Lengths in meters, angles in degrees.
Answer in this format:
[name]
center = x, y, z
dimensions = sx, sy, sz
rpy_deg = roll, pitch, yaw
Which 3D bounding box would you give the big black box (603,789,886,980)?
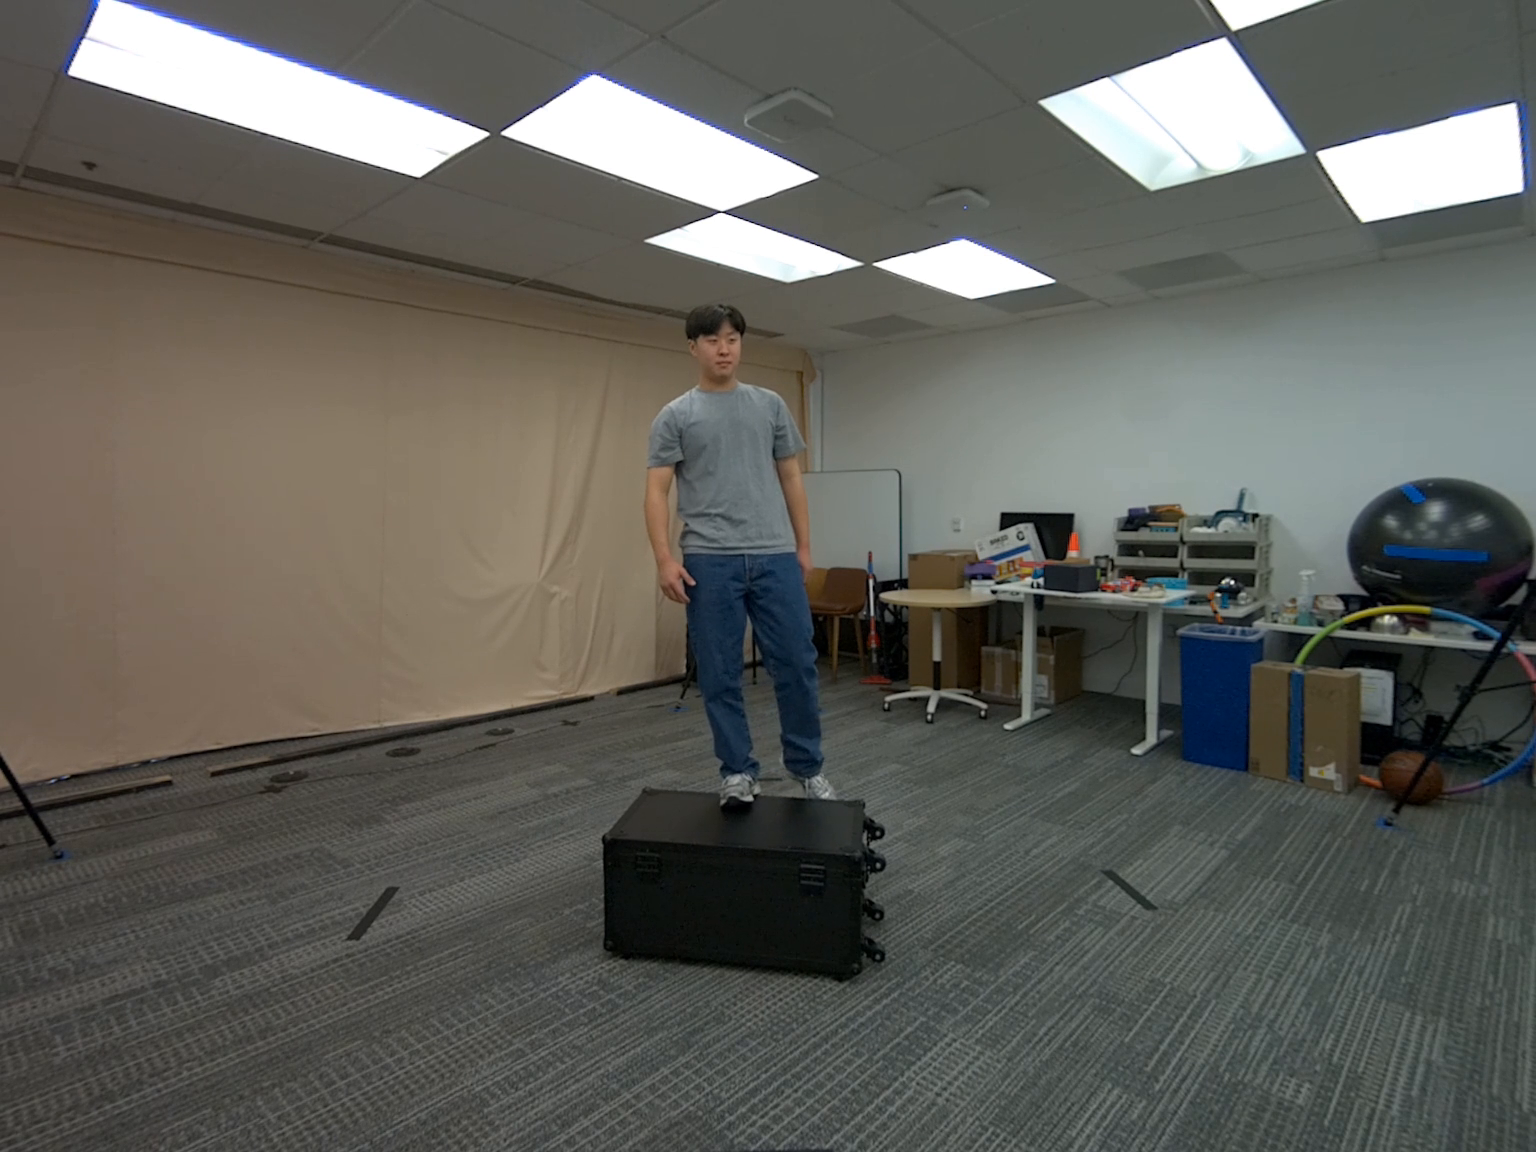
[big black box]
center = -0.055, 0.971, 2.733
dimensions = 0.871, 0.396, 0.516
rpy_deg = 0, 3, 10
